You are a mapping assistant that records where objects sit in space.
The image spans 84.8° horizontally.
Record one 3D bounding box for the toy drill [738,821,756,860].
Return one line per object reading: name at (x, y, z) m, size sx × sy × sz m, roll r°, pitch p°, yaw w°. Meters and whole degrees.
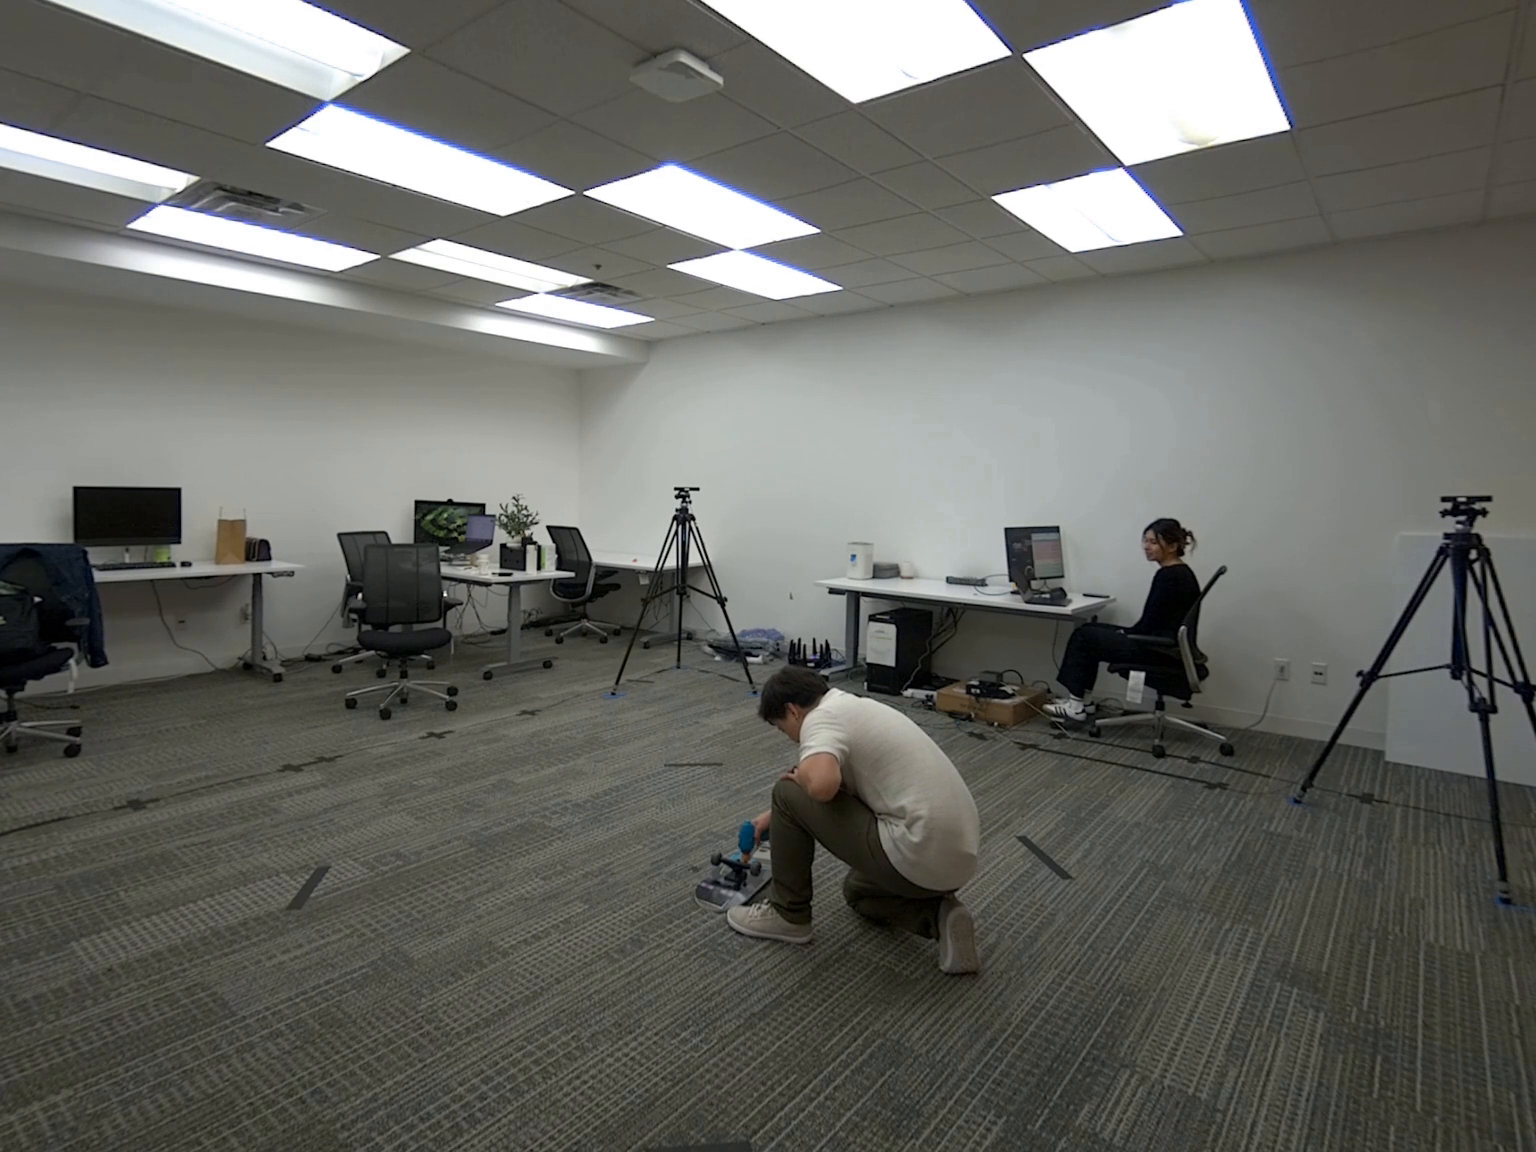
toy drill at (-0.054, 0.939, 2.998) m, size 0.145 × 0.171 × 0.061 m, roll 3°, pitch -8°, yaw -8°
